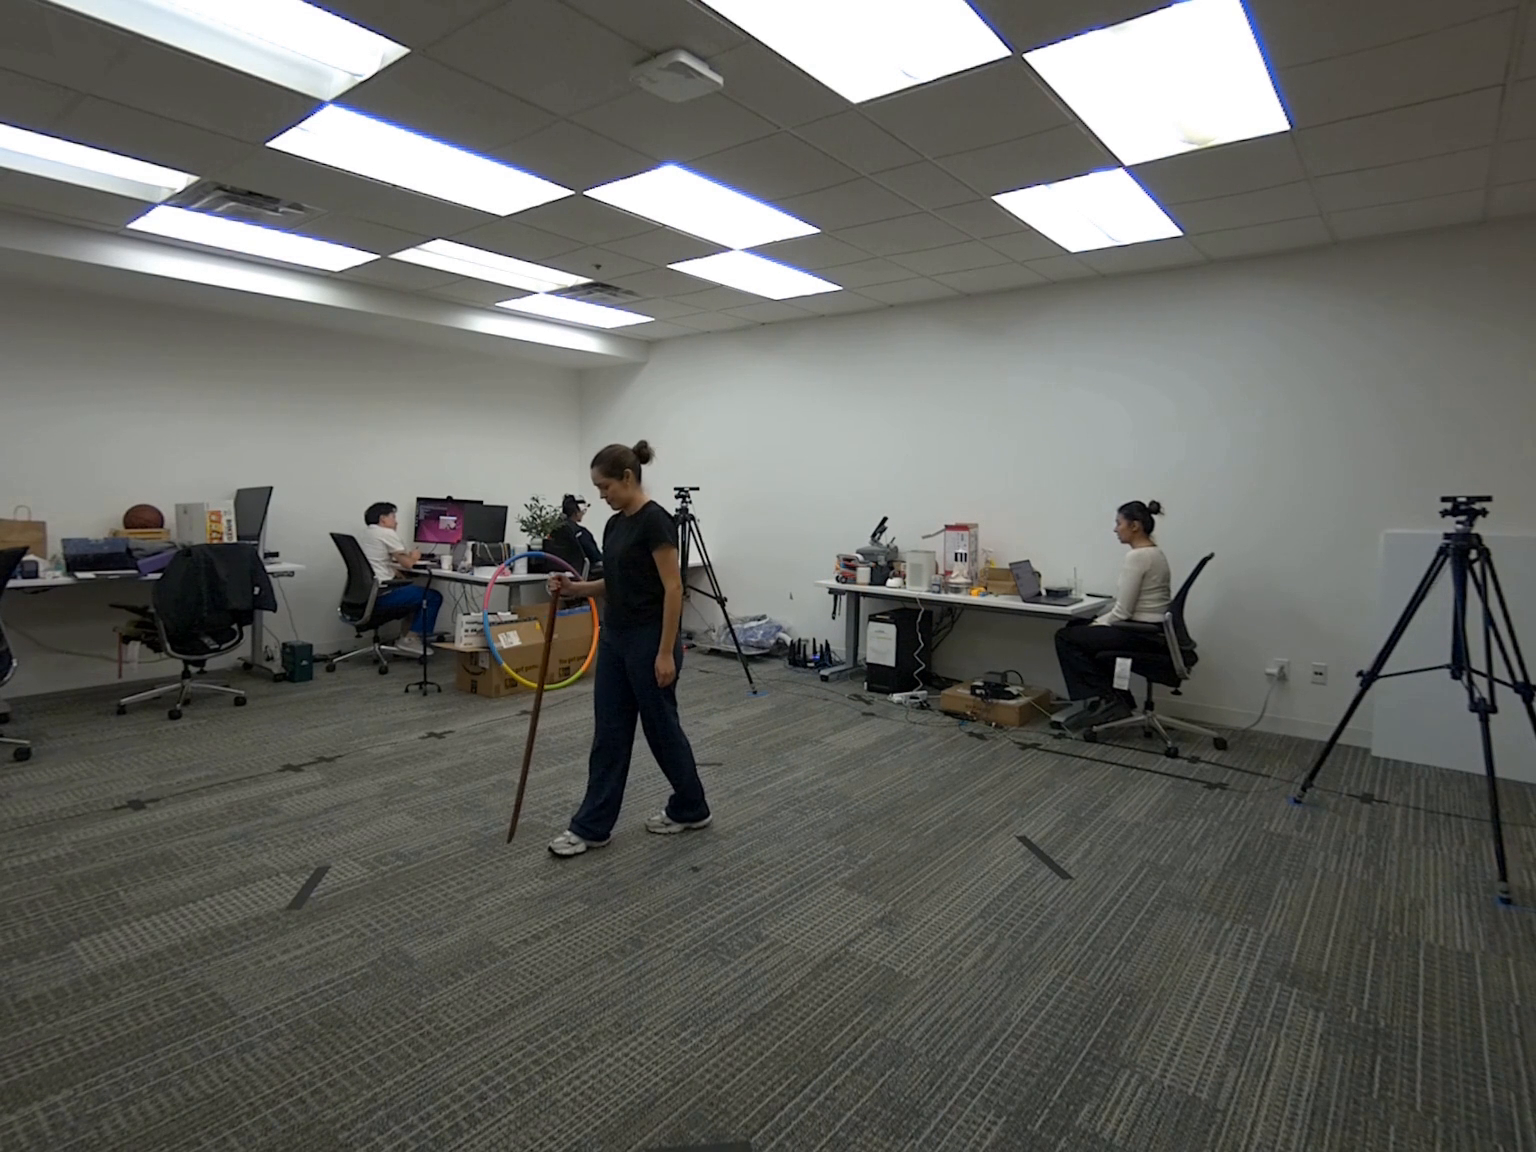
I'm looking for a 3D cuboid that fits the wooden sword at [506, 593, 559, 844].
[{"bbox_3d":[-0.891,0.510,3.309,0.052,1.030,0.023,5,-7,16],"label":"wooden sword"}]
